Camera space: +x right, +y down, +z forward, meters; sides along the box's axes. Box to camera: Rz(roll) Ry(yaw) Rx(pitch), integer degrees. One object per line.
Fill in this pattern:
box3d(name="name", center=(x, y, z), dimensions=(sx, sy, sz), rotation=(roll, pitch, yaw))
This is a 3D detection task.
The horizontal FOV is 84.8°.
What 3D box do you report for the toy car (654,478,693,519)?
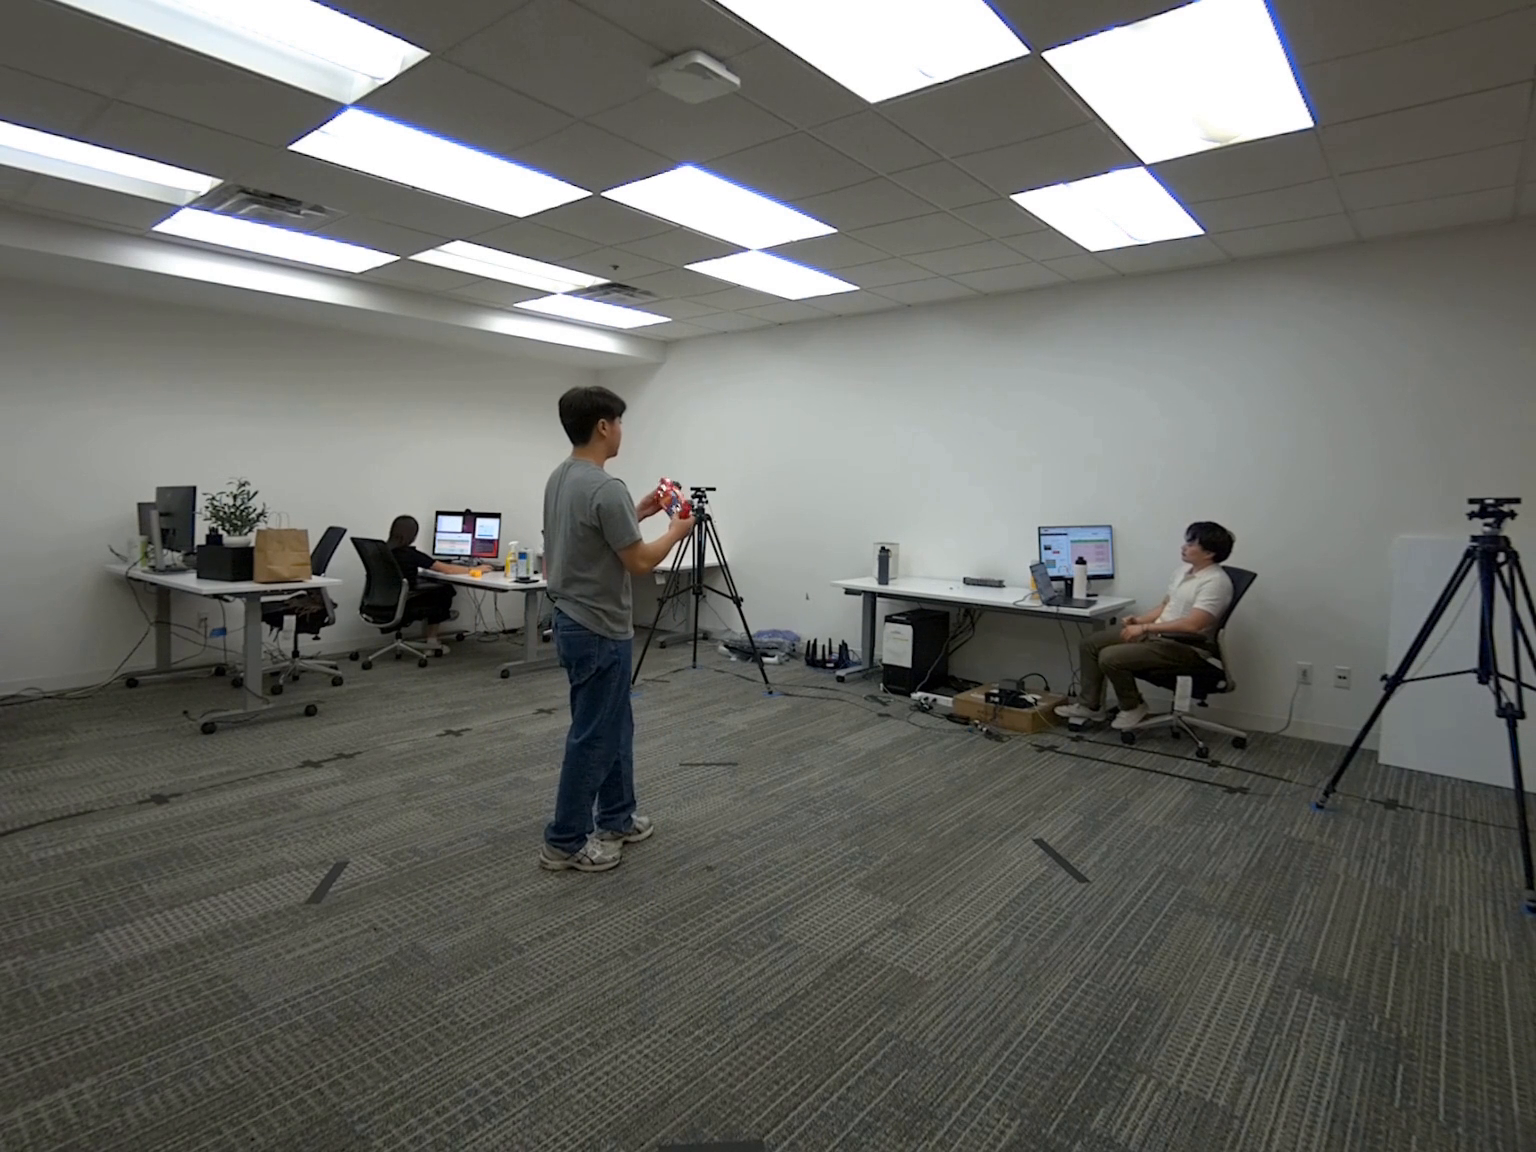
box3d(name="toy car", center=(-0.380, -0.294, 3.322), dimensions=(0.080, 0.129, 0.265), rotation=(6, 31, -46))
